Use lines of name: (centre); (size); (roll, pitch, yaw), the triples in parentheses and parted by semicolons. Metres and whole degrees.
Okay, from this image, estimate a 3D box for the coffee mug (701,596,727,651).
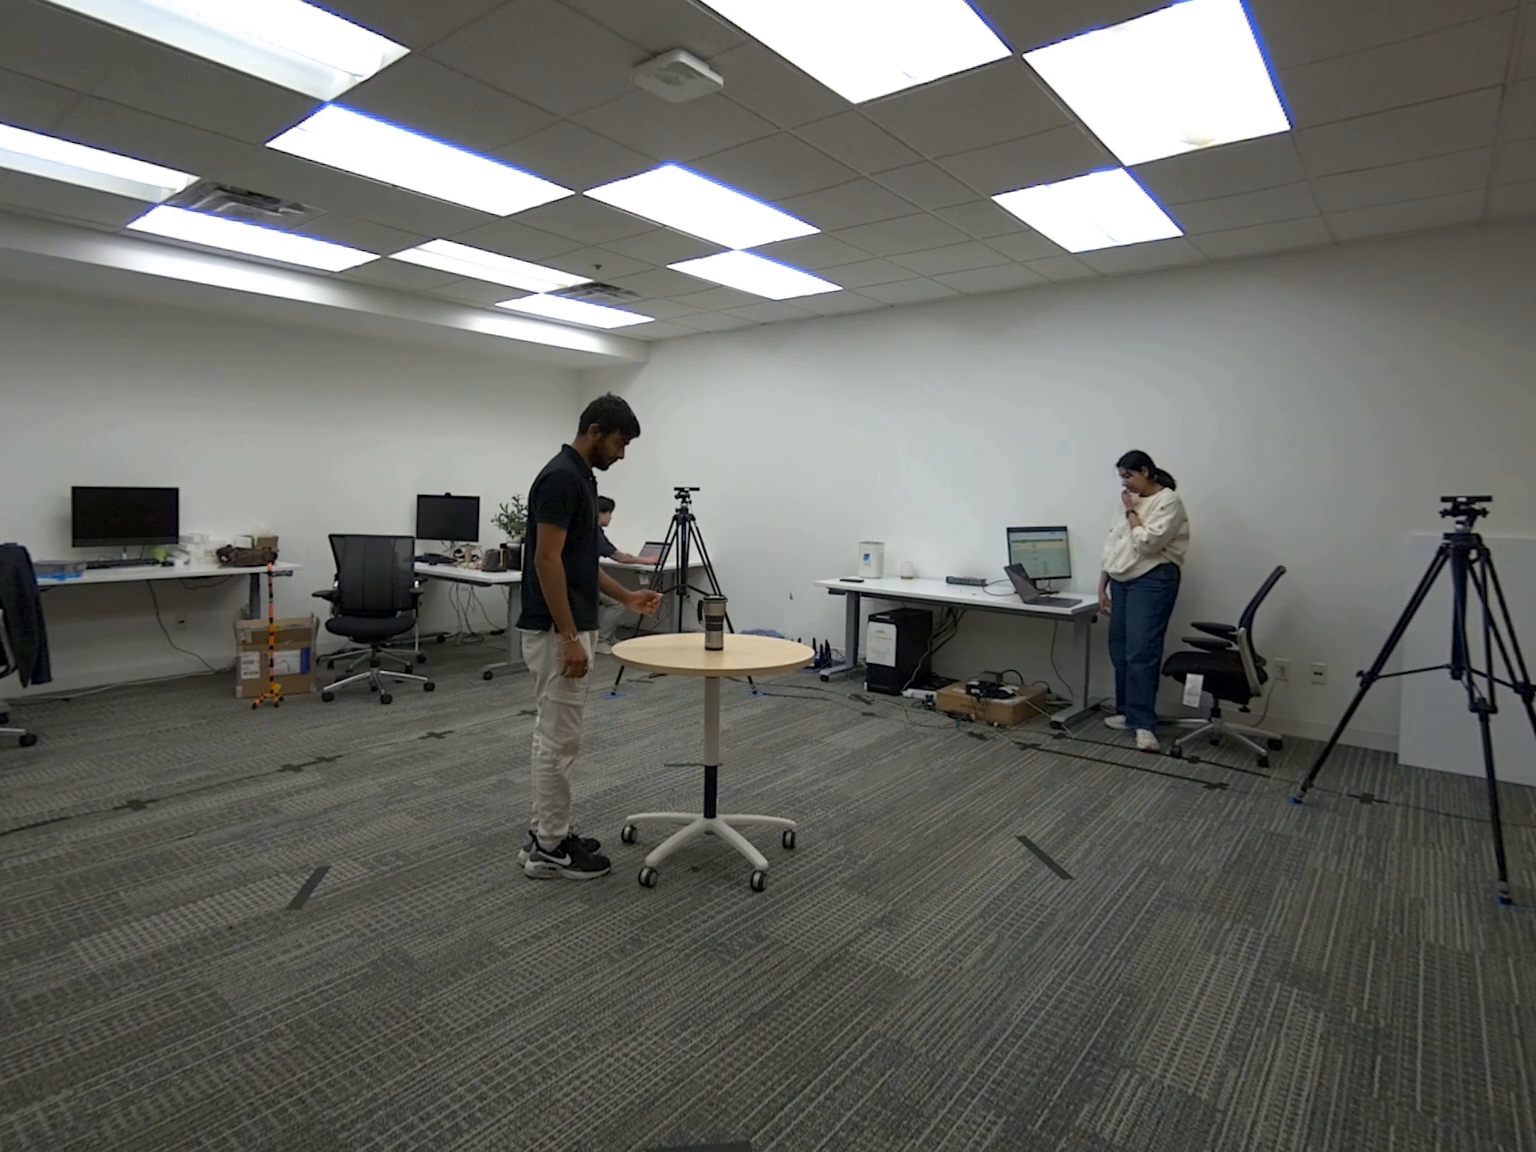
coffee mug: (-0.225, 0.176, 3.218); (0.086, 0.201, 0.126); (-4, 10, -30)
